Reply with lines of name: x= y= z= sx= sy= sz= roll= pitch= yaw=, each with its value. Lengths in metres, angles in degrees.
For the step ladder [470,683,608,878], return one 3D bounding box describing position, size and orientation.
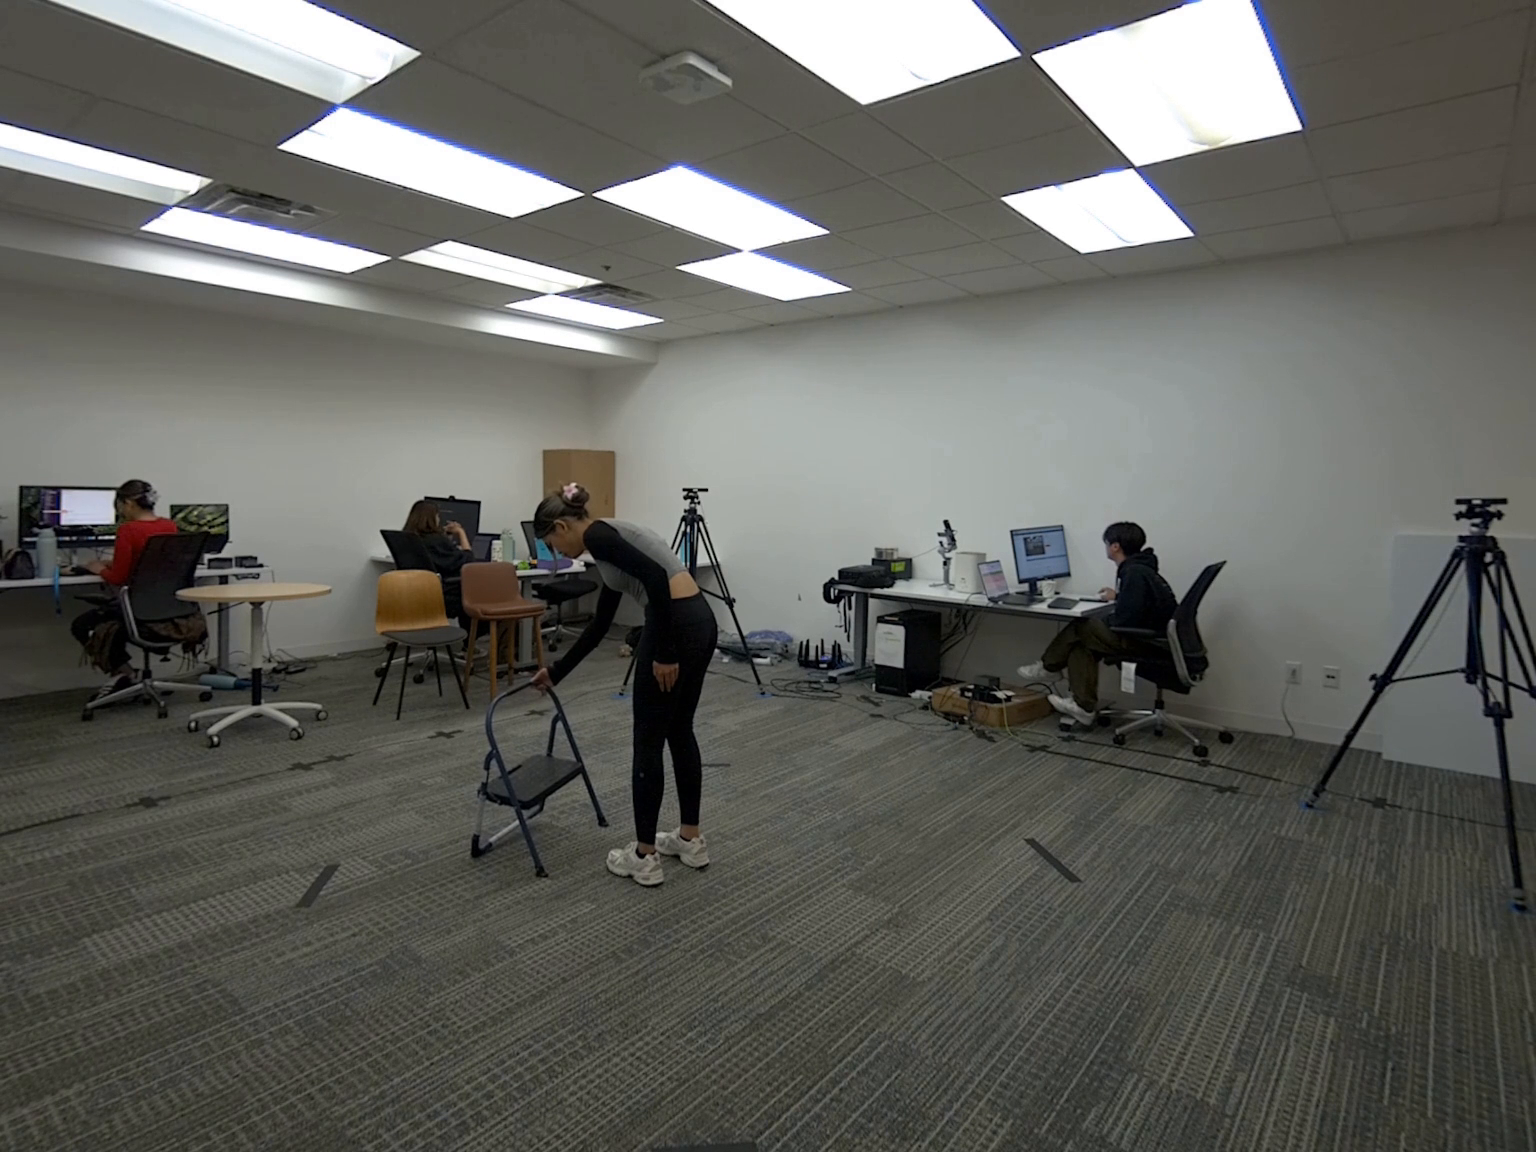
step ladder: x=-0.896 y=0.721 z=3.236 sx=0.358 sy=0.601 sz=0.424 roll=2 pitch=10 yaw=24
